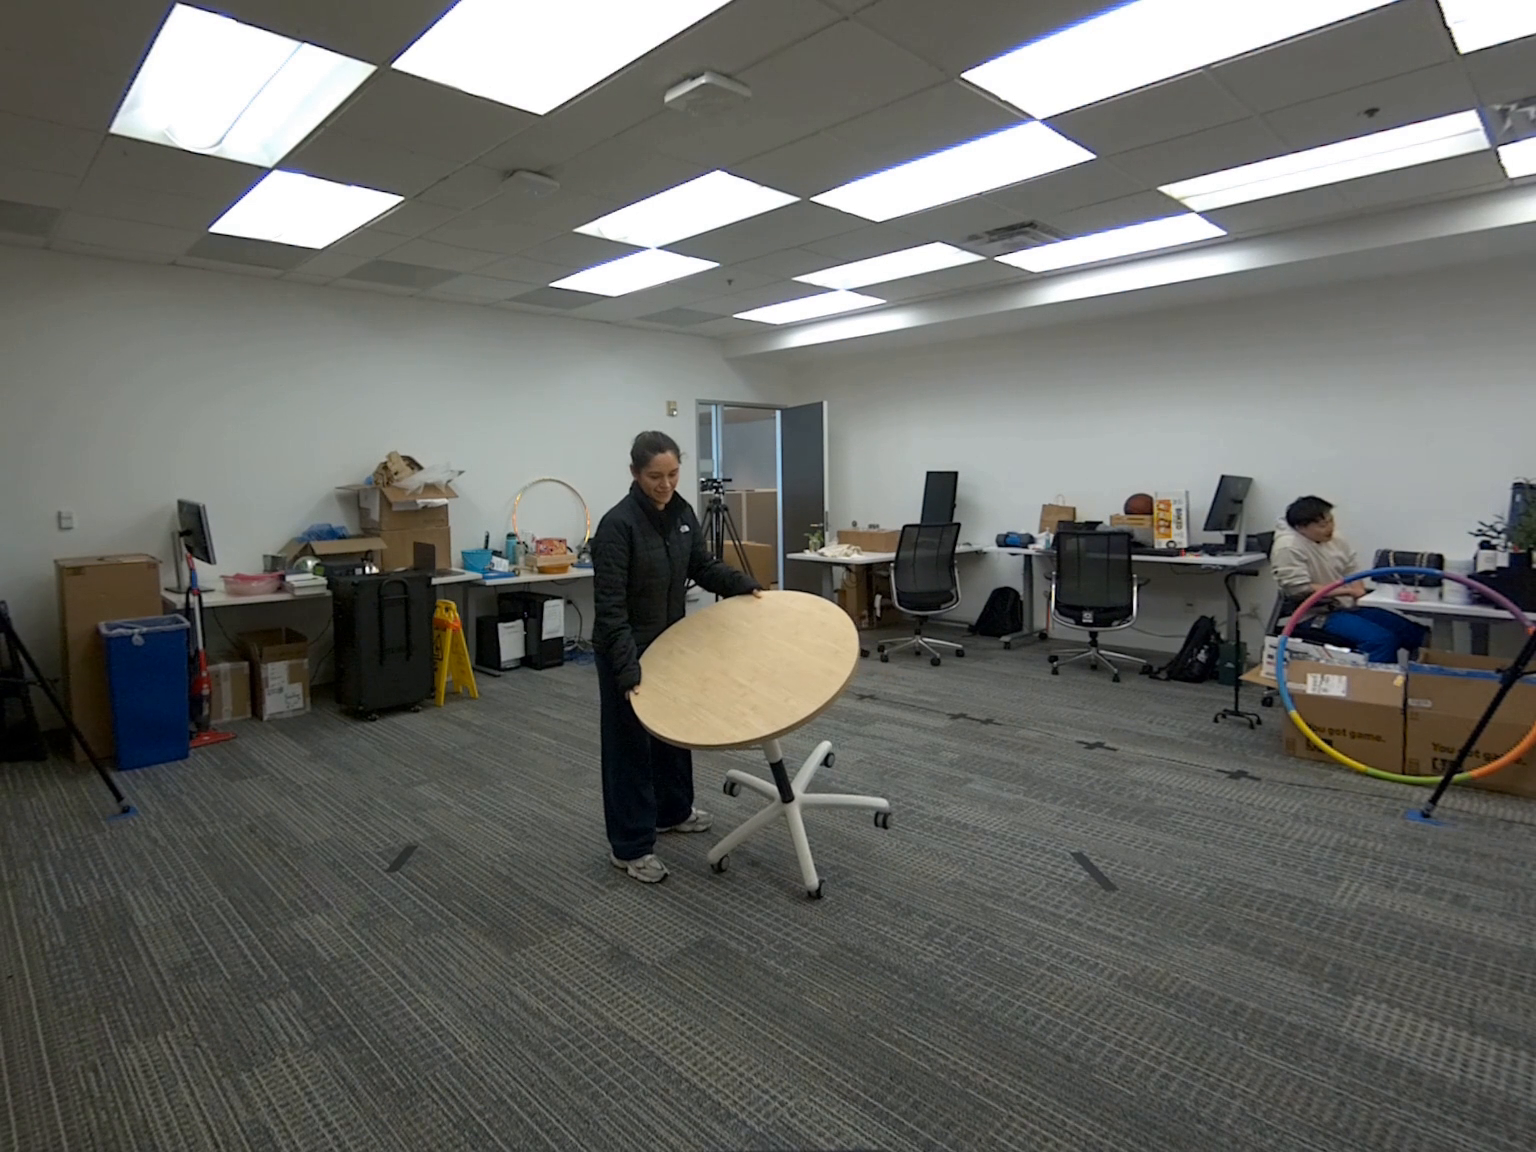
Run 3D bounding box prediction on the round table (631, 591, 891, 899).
[{"bbox_3d":[0.011,0.583,2.985,0.789,0.764,0.804,-13,30,6],"label":"round table"}]
